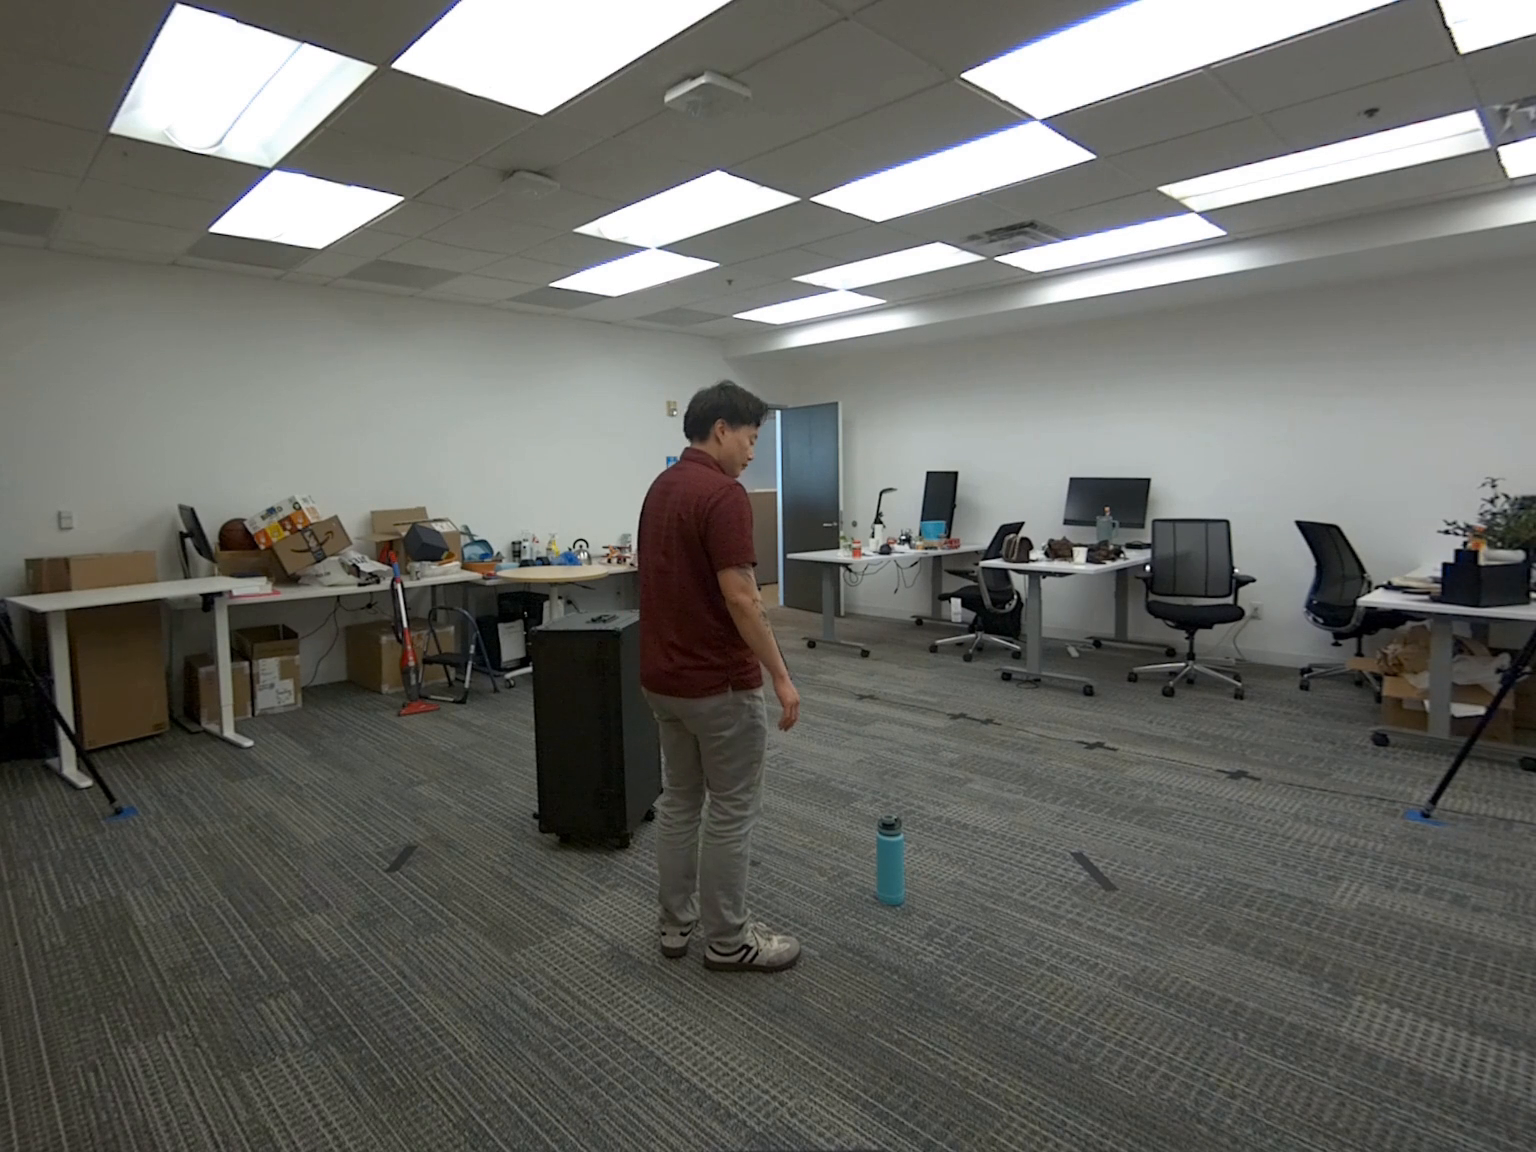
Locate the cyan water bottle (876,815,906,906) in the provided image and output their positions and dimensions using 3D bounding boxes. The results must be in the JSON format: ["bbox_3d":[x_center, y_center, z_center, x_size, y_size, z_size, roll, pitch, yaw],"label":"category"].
[{"bbox_3d":[0.410,0.929,2.815,0.092,0.283,0.092,-2,3,-2],"label":"cyan water bottle"}]
